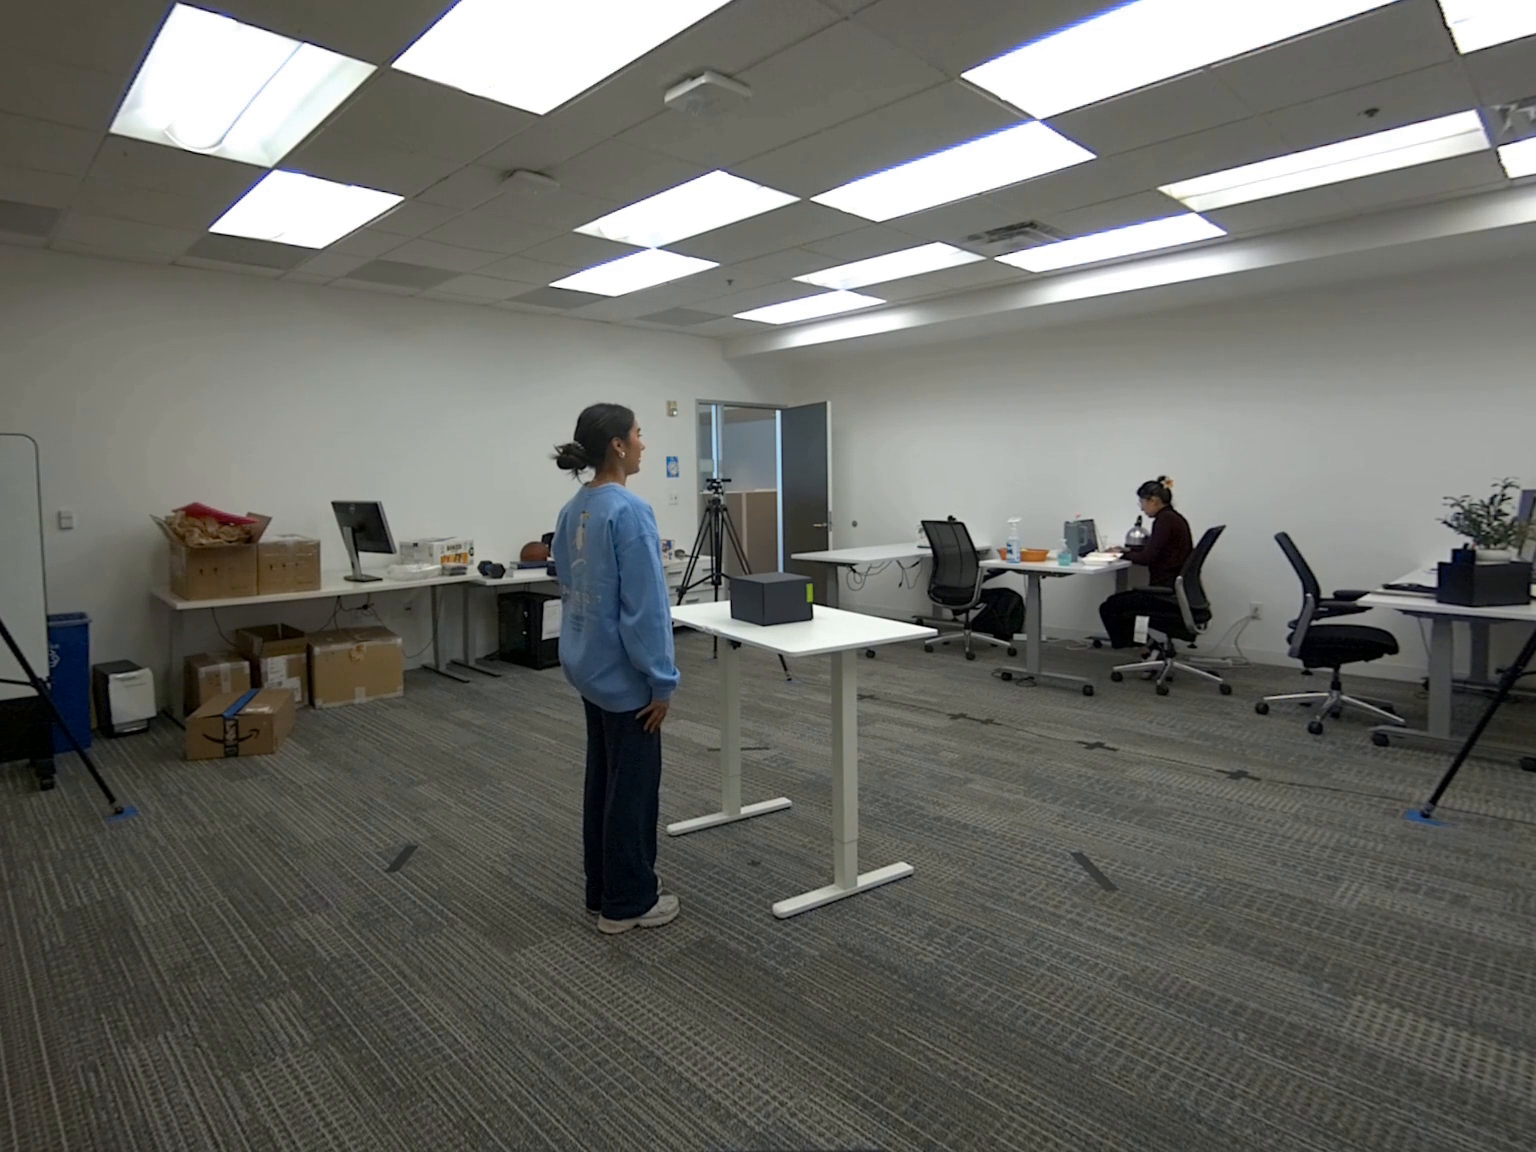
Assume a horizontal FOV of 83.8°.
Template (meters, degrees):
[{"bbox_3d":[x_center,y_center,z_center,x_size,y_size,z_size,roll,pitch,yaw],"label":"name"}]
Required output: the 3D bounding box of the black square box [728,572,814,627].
[{"bbox_3d":[0.004,0.082,3.116,0.212,0.155,0.234,-5,7,-32],"label":"black square box"}]
